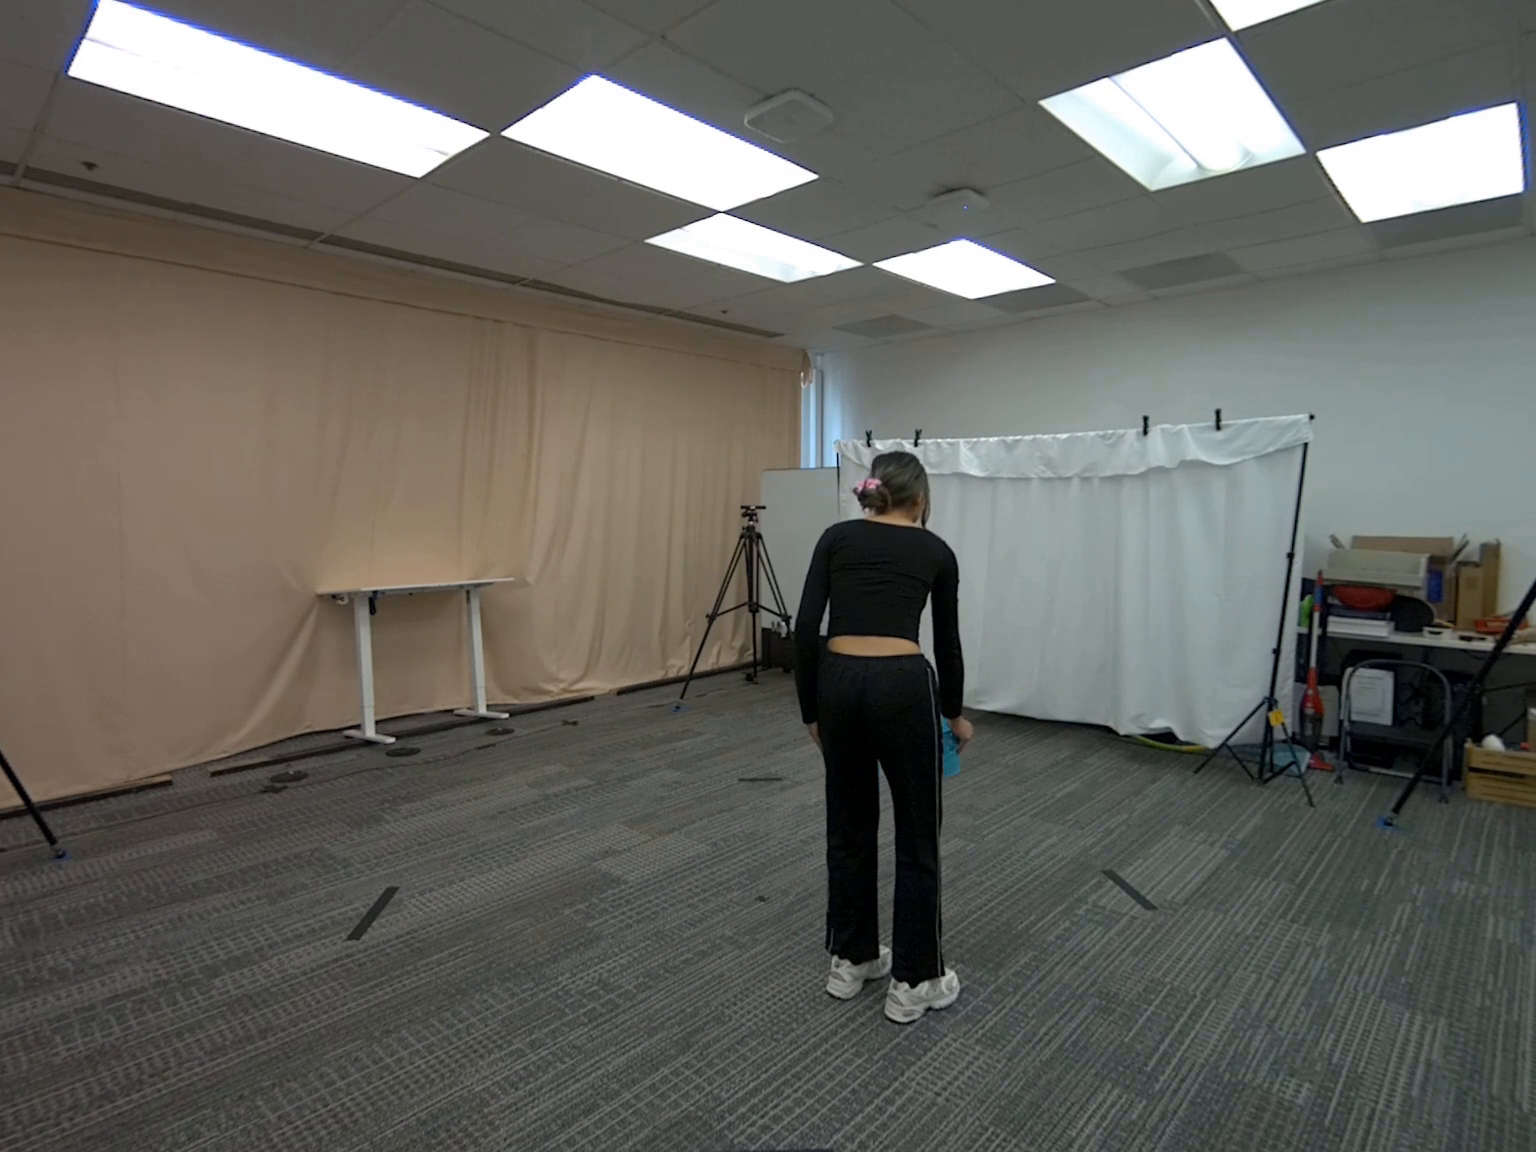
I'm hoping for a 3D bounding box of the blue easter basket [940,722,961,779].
[{"bbox_3d":[0.534,0.575,2.731,0.243,0.156,0.244,-4,2,-2],"label":"blue easter basket"}]
